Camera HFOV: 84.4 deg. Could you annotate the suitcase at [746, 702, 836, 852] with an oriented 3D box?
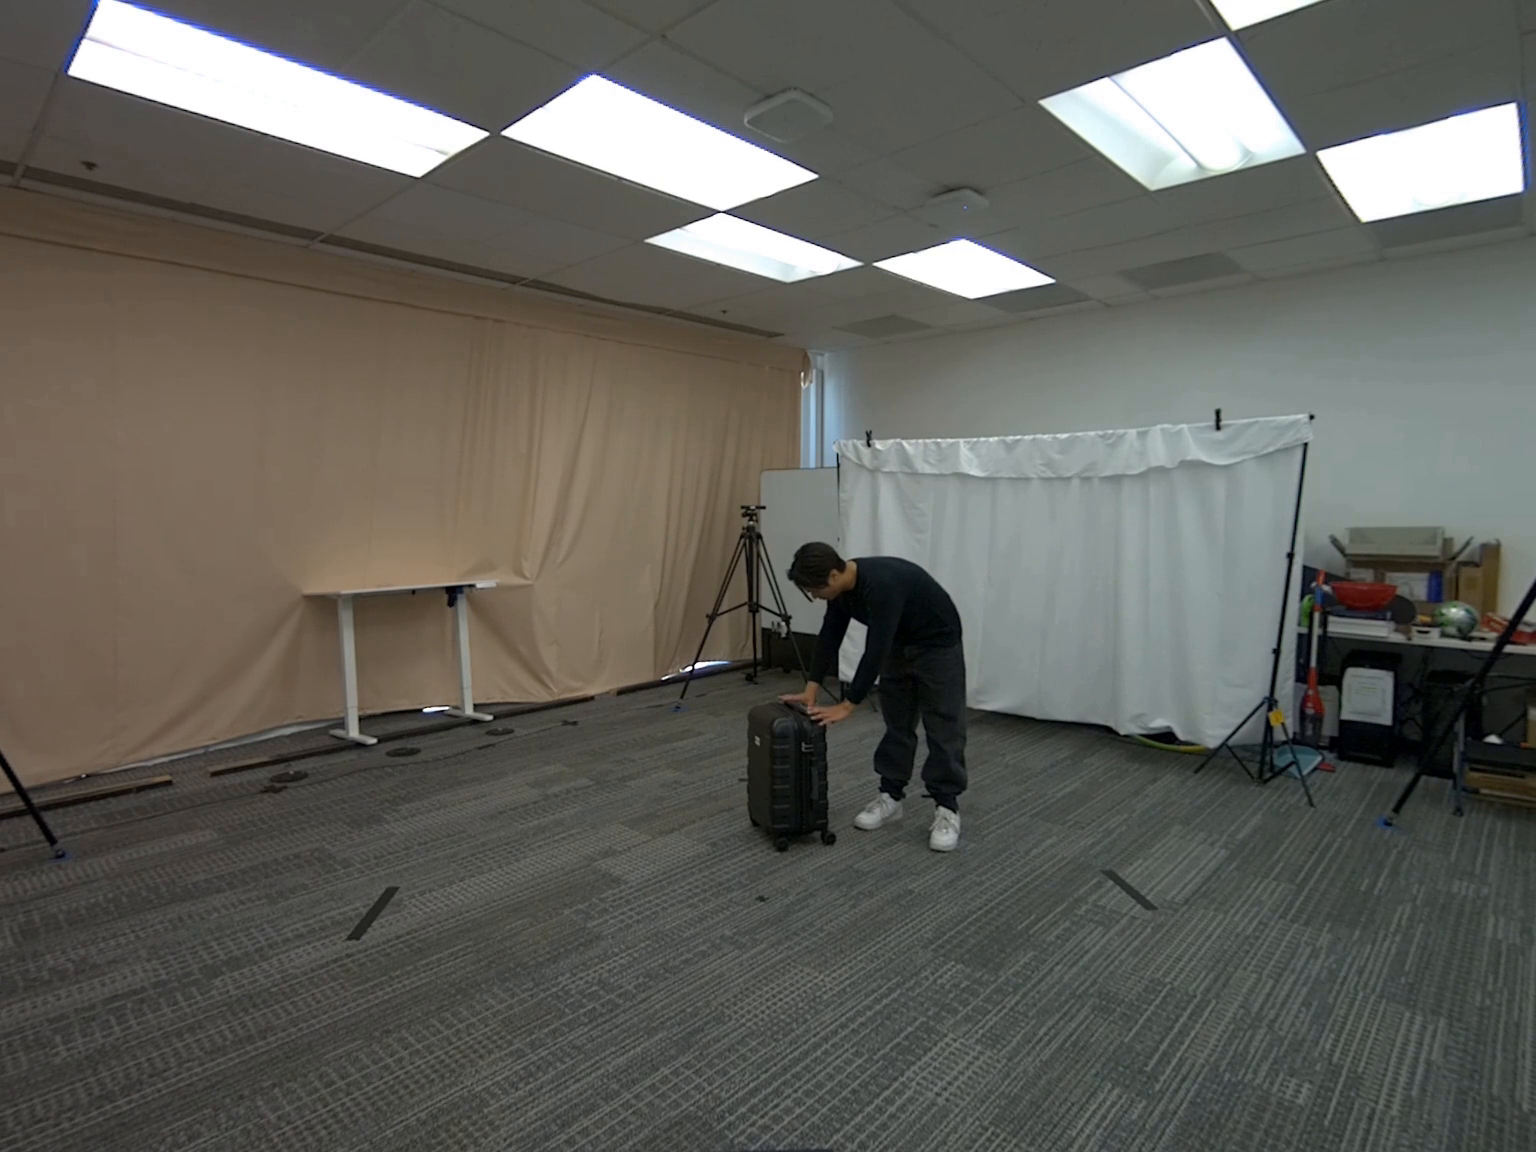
[{"bbox_3d":[0.082,0.822,3.548,0.244,0.548,0.383,-2,4,-20],"label":"suitcase"}]
